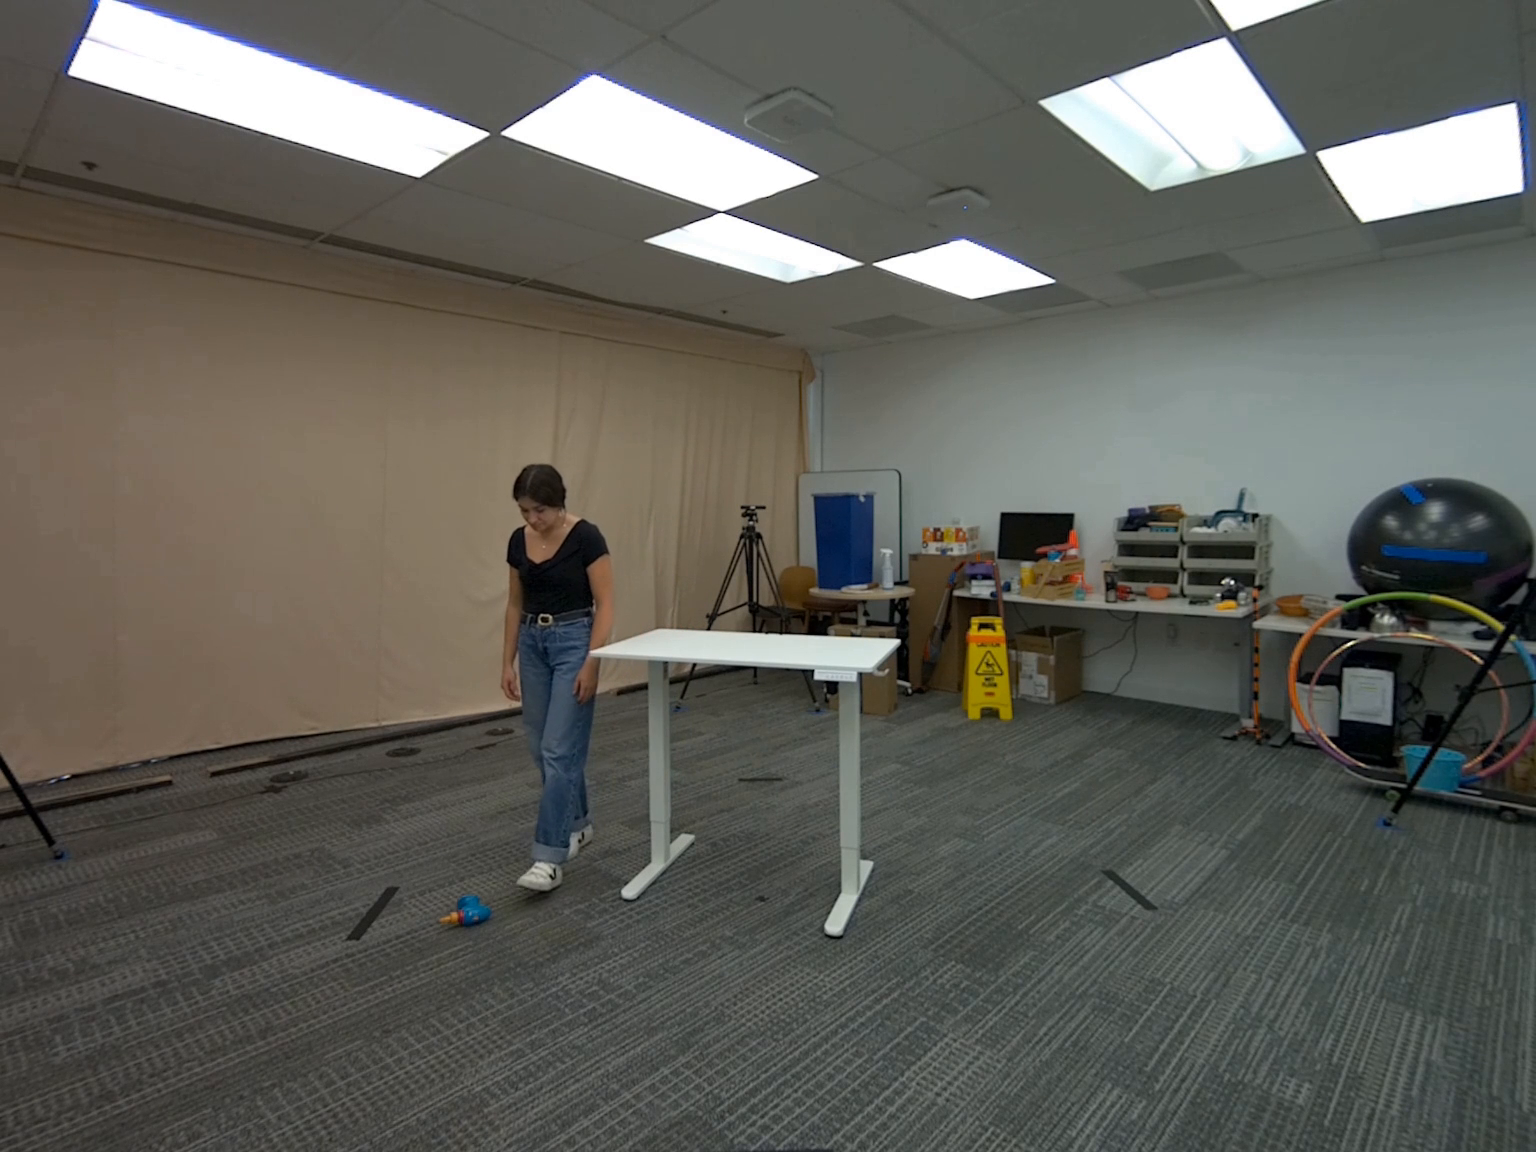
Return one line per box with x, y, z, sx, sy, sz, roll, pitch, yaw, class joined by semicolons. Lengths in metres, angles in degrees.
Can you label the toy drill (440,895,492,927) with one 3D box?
-1.029;1.129;2.847;0.165;0.061;0.150;1;3;-34;toy drill
